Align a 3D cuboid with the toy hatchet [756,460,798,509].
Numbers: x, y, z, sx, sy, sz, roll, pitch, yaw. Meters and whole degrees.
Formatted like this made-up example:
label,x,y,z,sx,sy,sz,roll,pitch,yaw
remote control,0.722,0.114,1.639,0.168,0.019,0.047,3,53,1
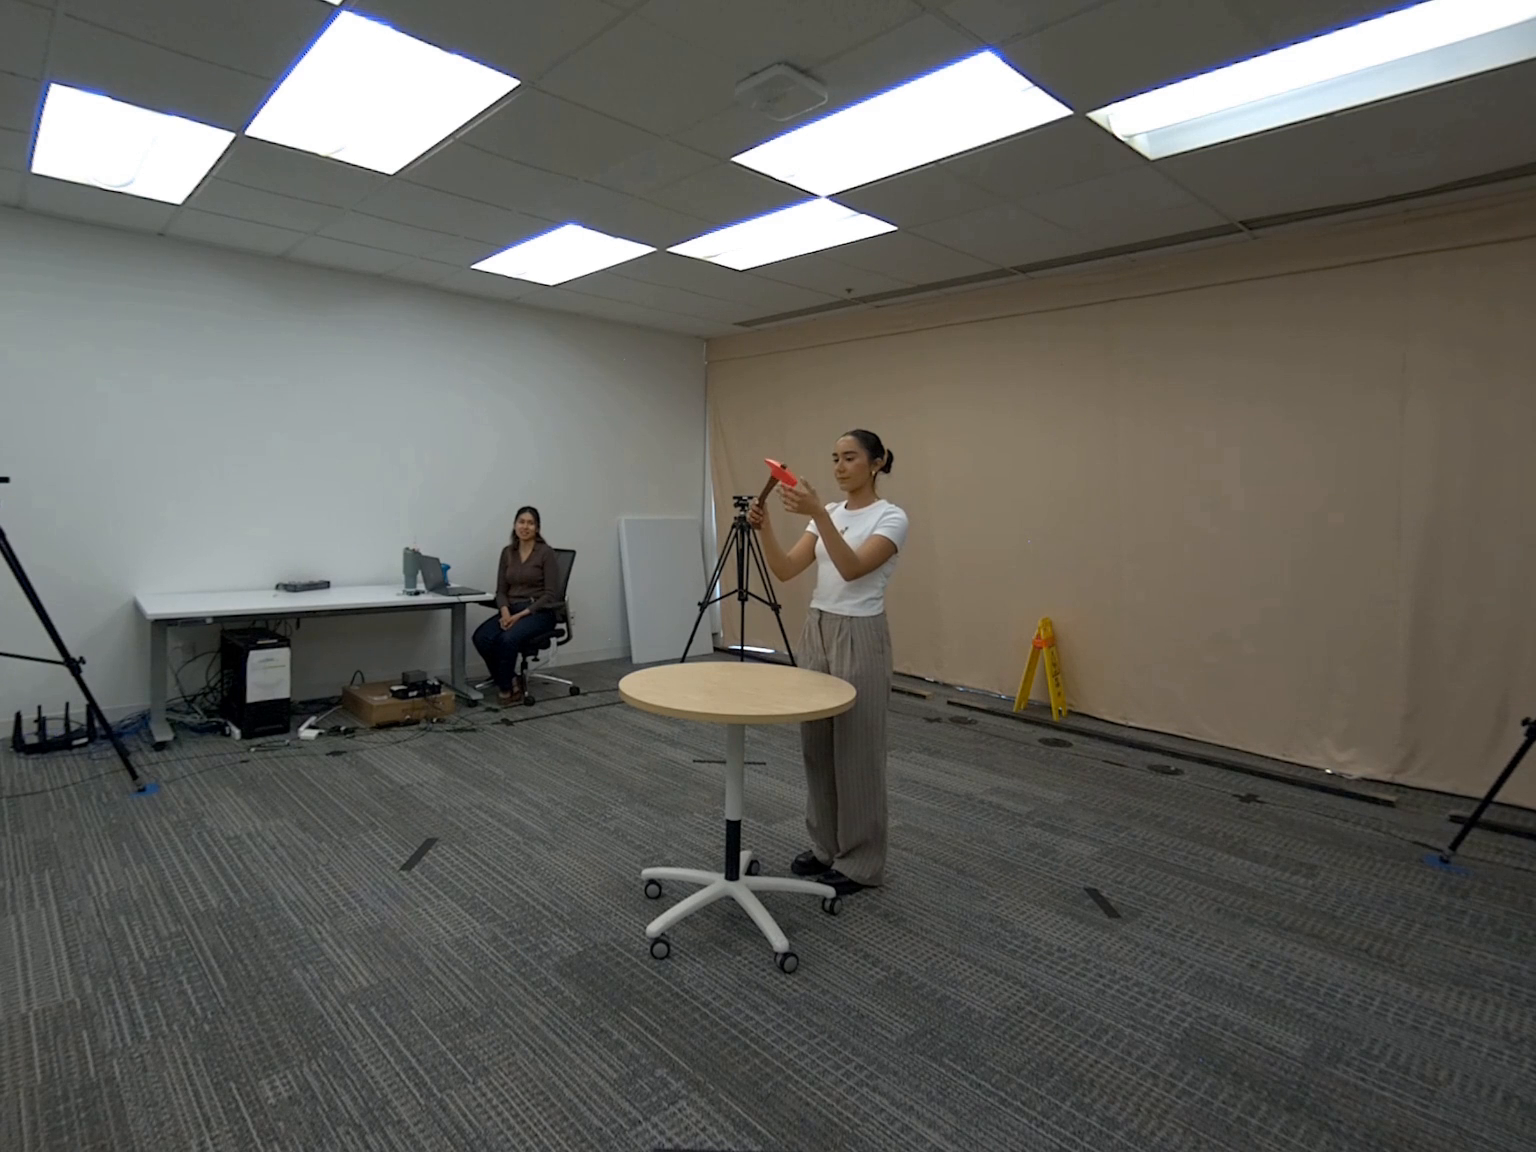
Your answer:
label,x,y,z,sx,sy,sz,roll,pitch,yaw
toy hatchet,0.020,-0.259,2.820,0.133,0.266,0.029,20,33,15
